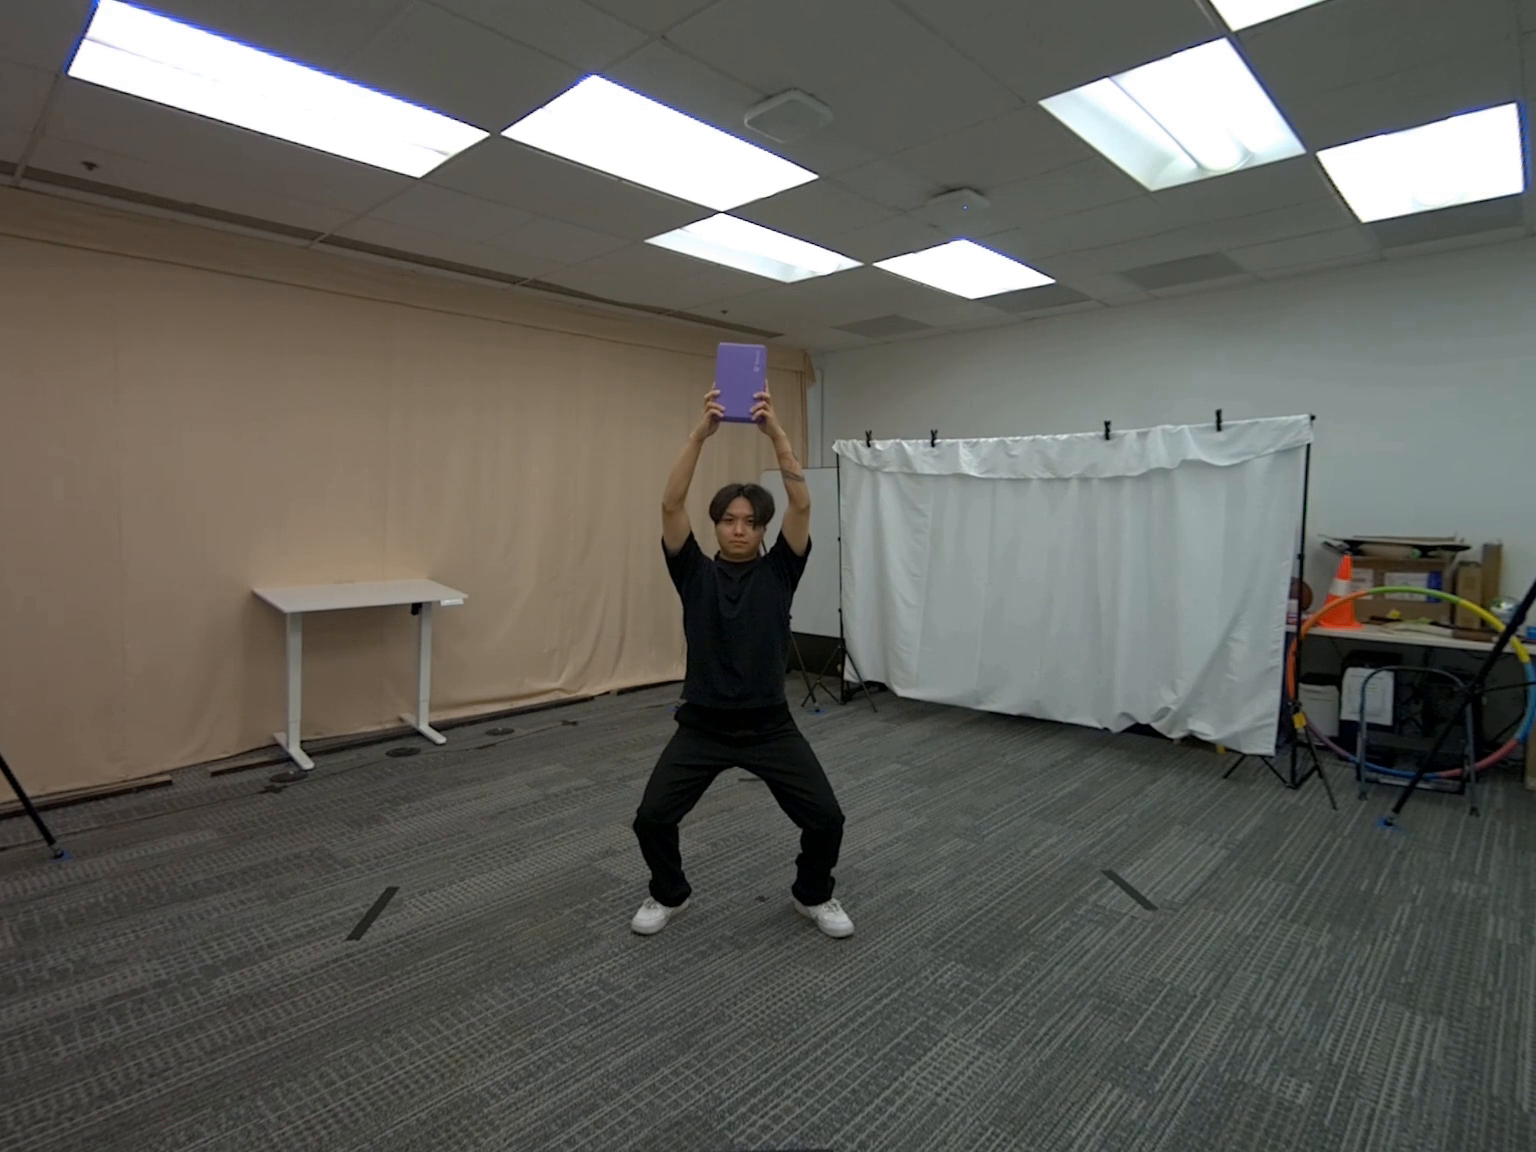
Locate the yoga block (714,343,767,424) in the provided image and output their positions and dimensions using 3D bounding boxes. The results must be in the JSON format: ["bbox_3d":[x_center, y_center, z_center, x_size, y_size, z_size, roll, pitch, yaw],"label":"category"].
[{"bbox_3d":[-0.077,-0.588,2.562,0.150,0.229,0.076,3,1,6],"label":"yoga block"}]
